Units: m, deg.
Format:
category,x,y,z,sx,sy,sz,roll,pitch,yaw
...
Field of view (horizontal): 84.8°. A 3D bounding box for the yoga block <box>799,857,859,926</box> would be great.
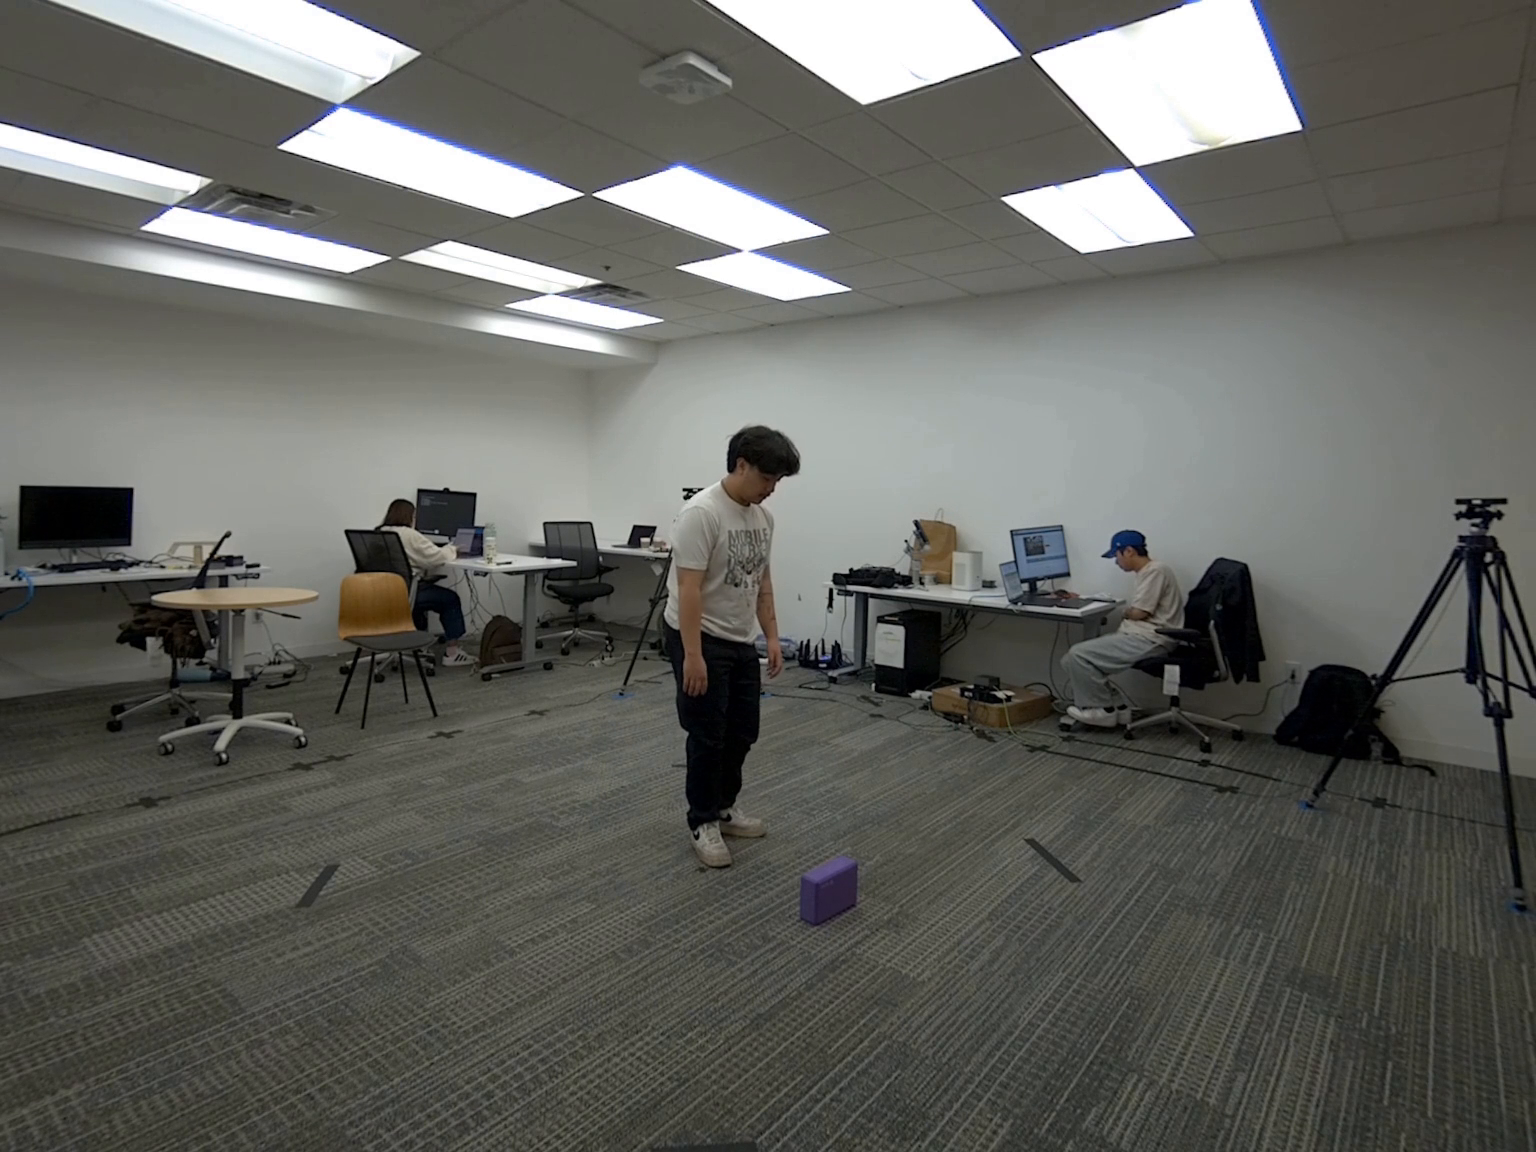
category,x,y,z,sx,sy,sz,roll,pitch,yaw
yoga block,0.198,1.033,2.812,0.079,0.148,0.222,5,6,42
